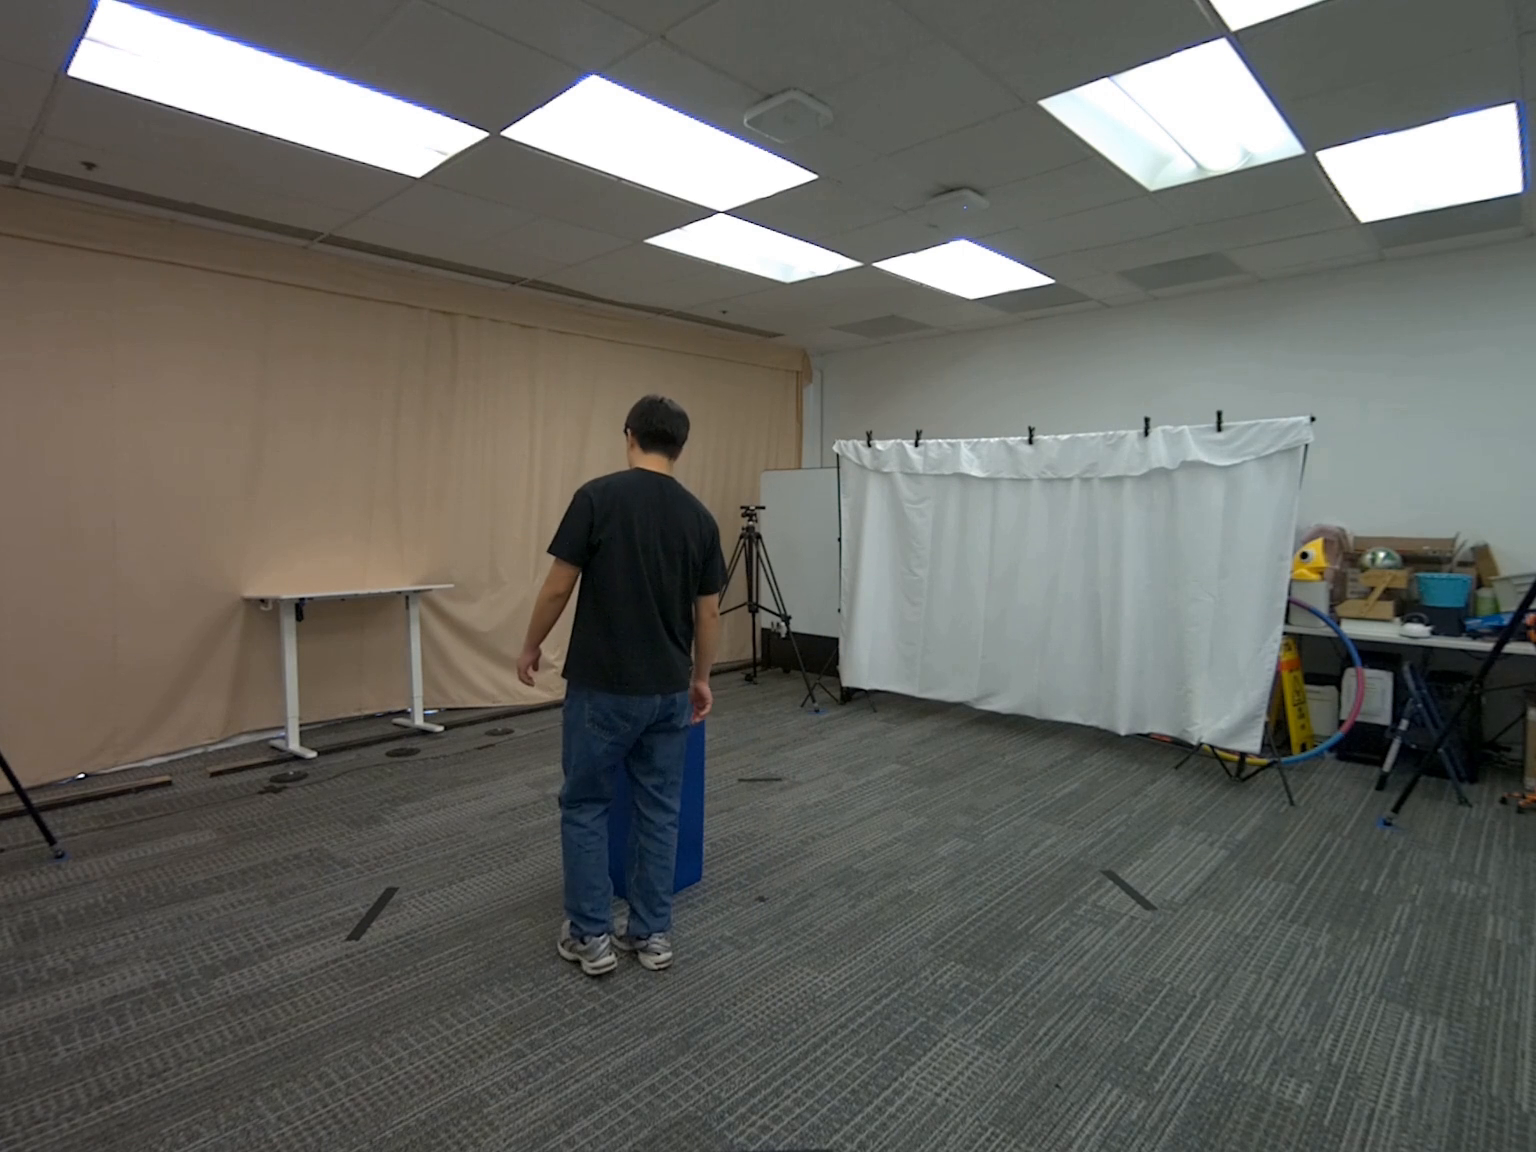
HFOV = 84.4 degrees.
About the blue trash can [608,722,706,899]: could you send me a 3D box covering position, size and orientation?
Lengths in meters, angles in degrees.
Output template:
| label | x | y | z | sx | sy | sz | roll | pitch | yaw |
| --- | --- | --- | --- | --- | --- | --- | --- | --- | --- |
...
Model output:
| label | x | y | z | sx | sy | sz | roll | pitch | yaw |
| --- | --- | --- | --- | --- | --- | --- | --- | --- | --- |
| blue trash can | -0.465 | 0.776 | 3.111 | 0.386 | 0.712 | 0.366 | 2 | 3 | 39 |
